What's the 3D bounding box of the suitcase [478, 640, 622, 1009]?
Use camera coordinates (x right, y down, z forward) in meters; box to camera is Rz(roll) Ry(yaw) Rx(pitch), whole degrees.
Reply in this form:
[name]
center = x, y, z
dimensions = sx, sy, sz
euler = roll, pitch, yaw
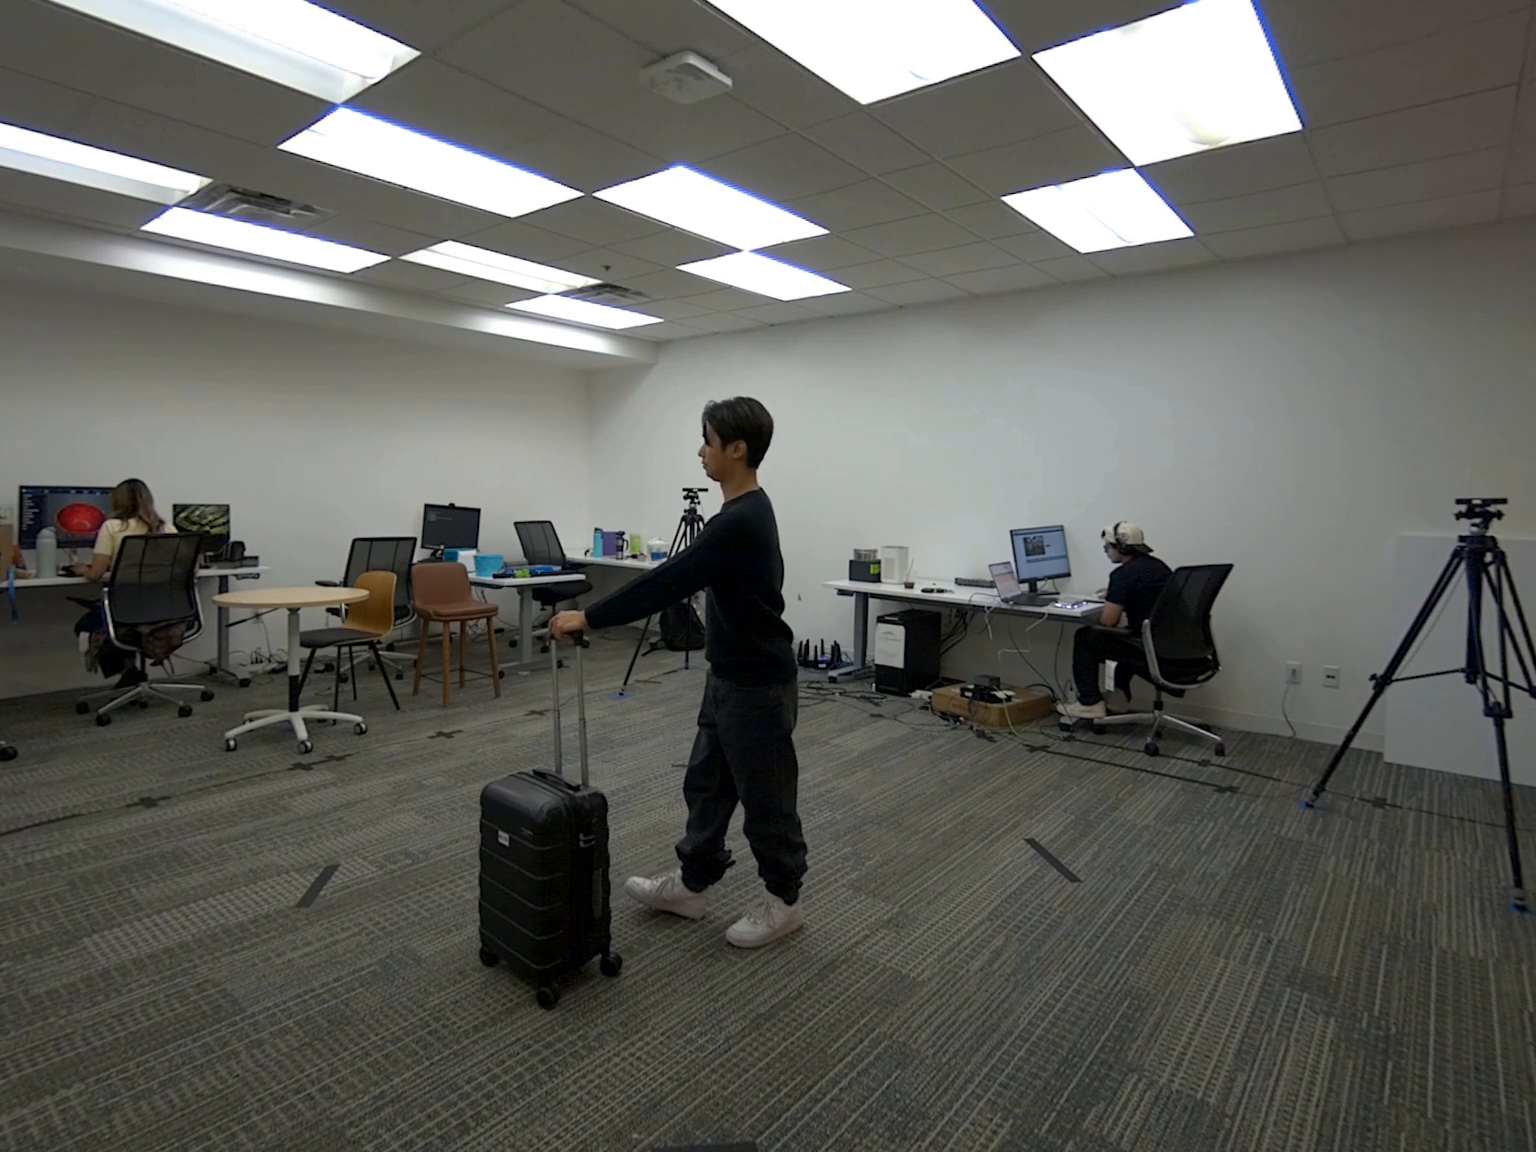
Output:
[suitcase]
center = -0.663, 0.655, 2.427
dimensions = 0.396, 0.975, 0.250
euler = 1, 5, 44
